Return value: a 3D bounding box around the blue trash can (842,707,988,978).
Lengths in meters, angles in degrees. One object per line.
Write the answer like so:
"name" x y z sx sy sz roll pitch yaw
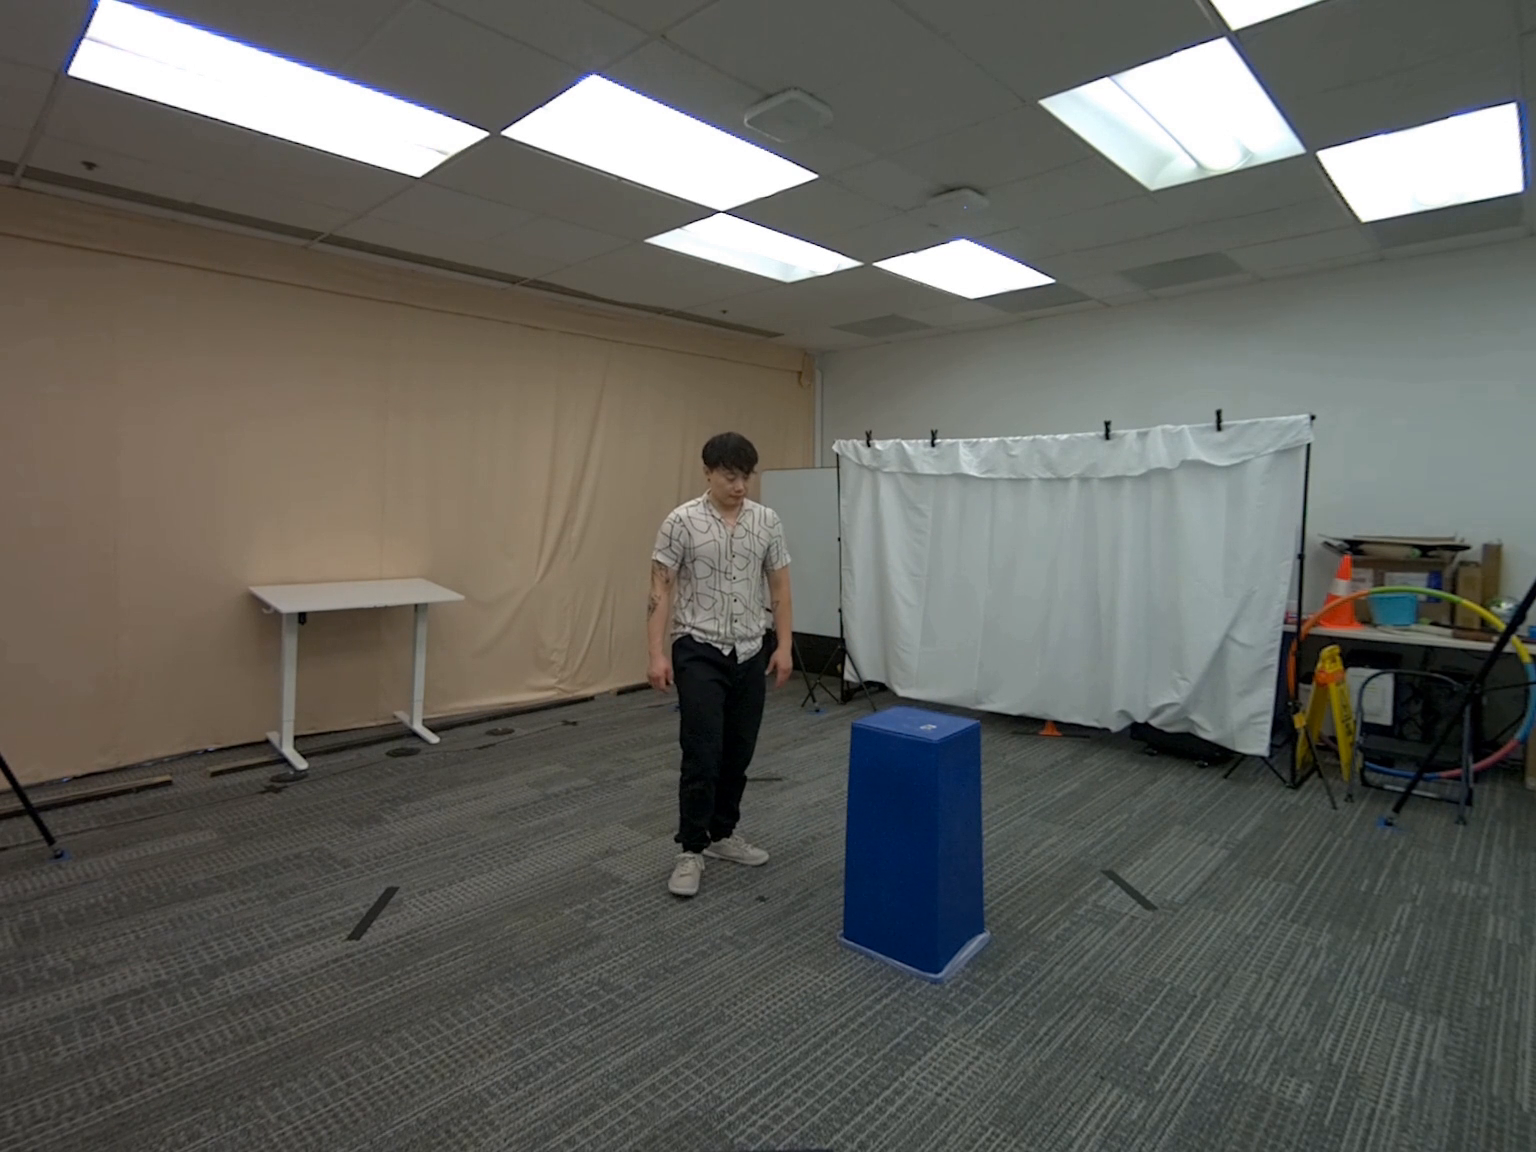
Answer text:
"blue trash can" 0.476 0.816 2.667 0.386 0.711 0.367 4 6 41
